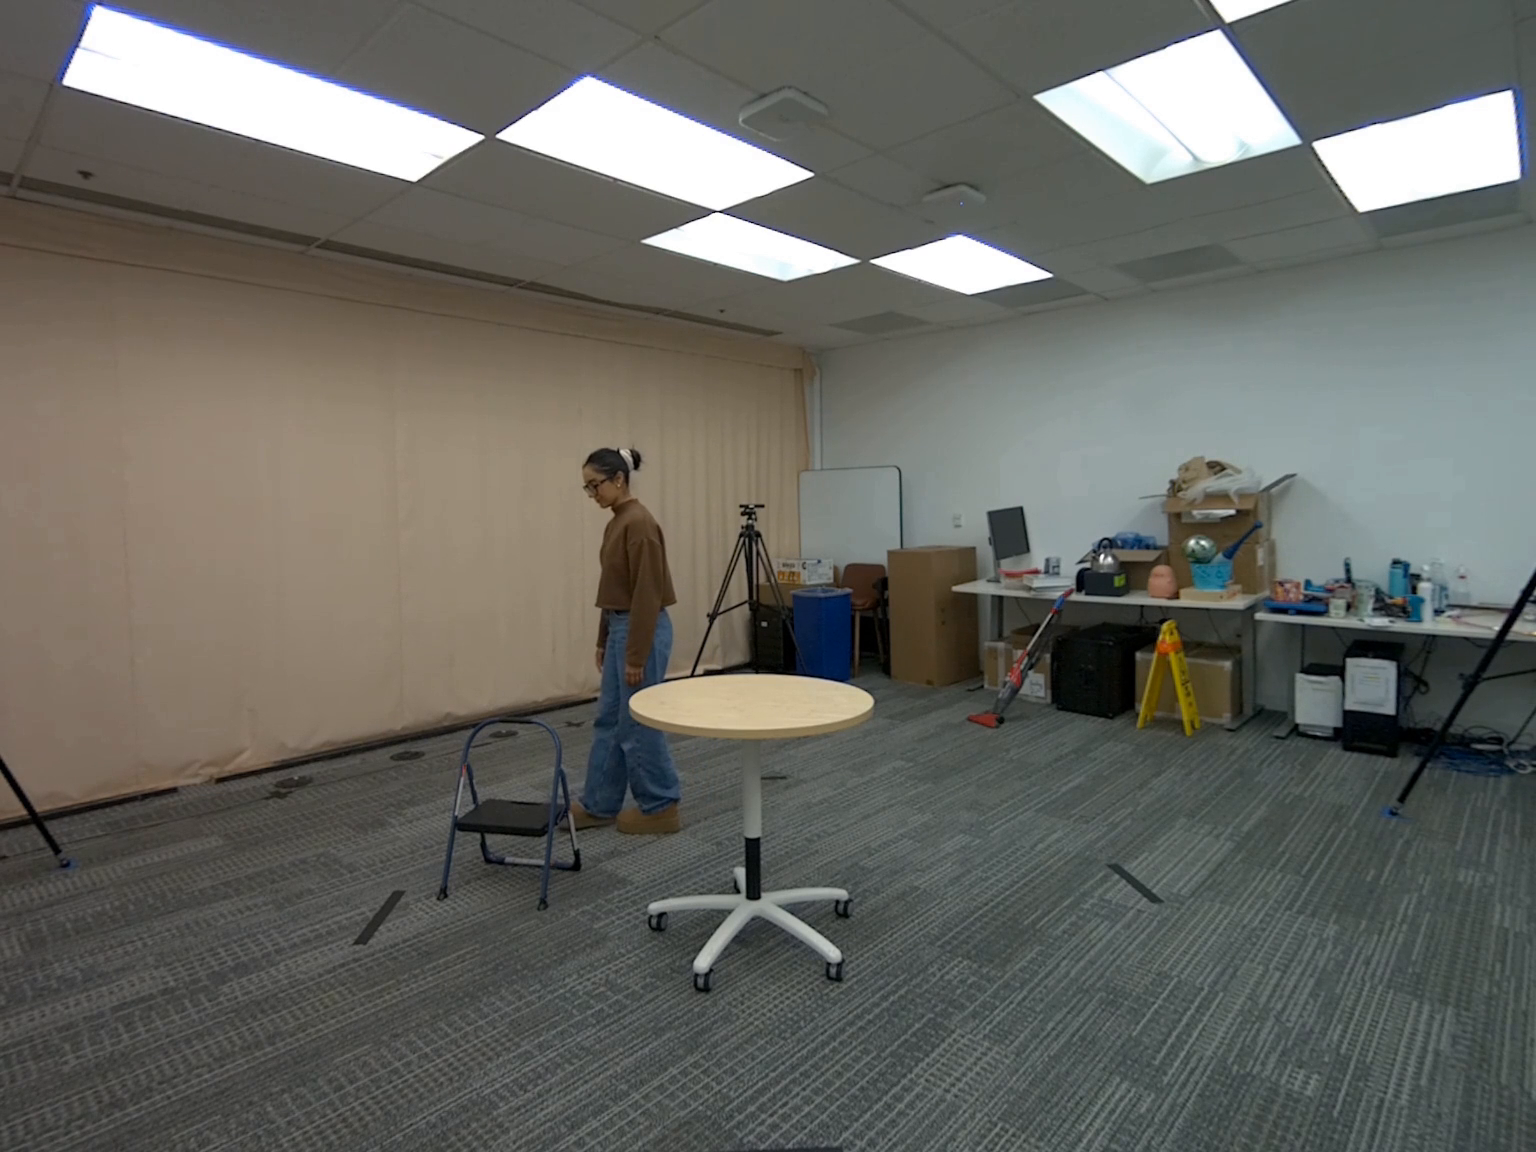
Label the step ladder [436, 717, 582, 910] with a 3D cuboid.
[{"bbox_3d":[-0.963,0.849,3.128,0.437,0.605,0.345,0,3,13],"label":"step ladder"}]
